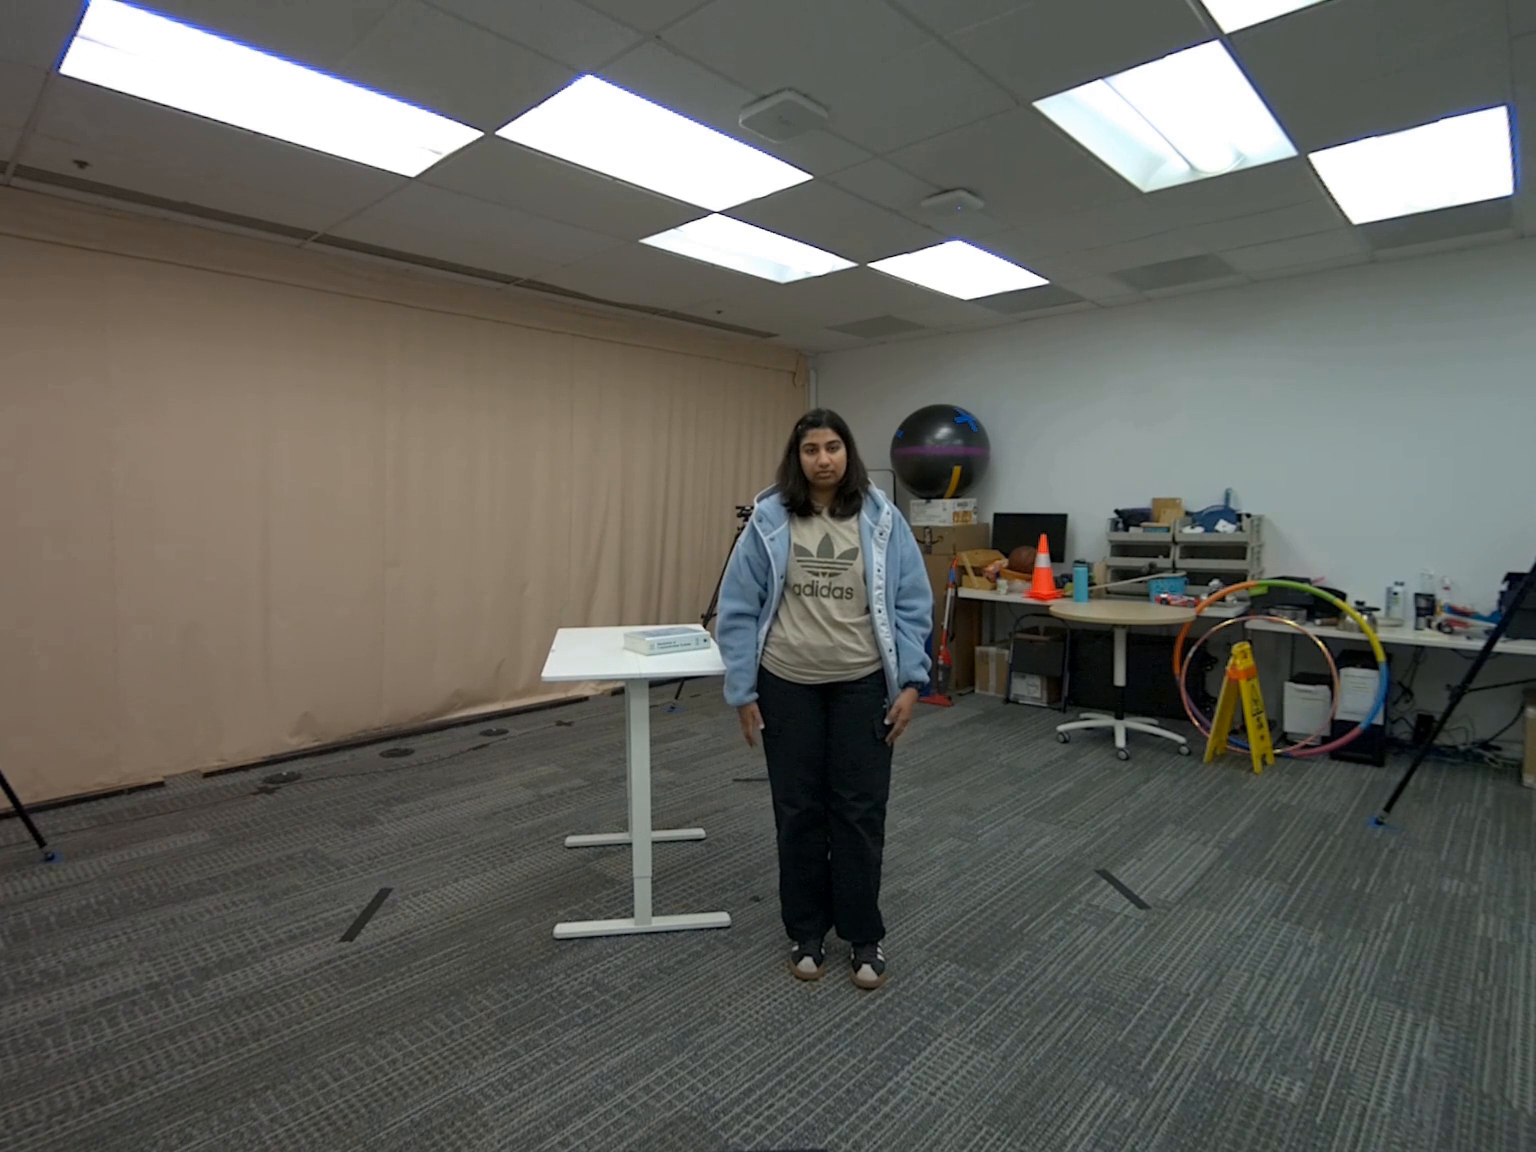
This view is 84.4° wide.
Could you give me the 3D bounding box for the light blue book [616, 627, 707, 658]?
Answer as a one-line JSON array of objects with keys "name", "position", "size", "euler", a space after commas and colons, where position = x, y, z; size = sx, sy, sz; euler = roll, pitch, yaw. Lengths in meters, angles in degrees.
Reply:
[{"name": "light blue book", "position": [-0.382, 0.234, 3.028], "size": [0.253, 0.059, 0.197], "euler": [-4, 6, -35]}]
